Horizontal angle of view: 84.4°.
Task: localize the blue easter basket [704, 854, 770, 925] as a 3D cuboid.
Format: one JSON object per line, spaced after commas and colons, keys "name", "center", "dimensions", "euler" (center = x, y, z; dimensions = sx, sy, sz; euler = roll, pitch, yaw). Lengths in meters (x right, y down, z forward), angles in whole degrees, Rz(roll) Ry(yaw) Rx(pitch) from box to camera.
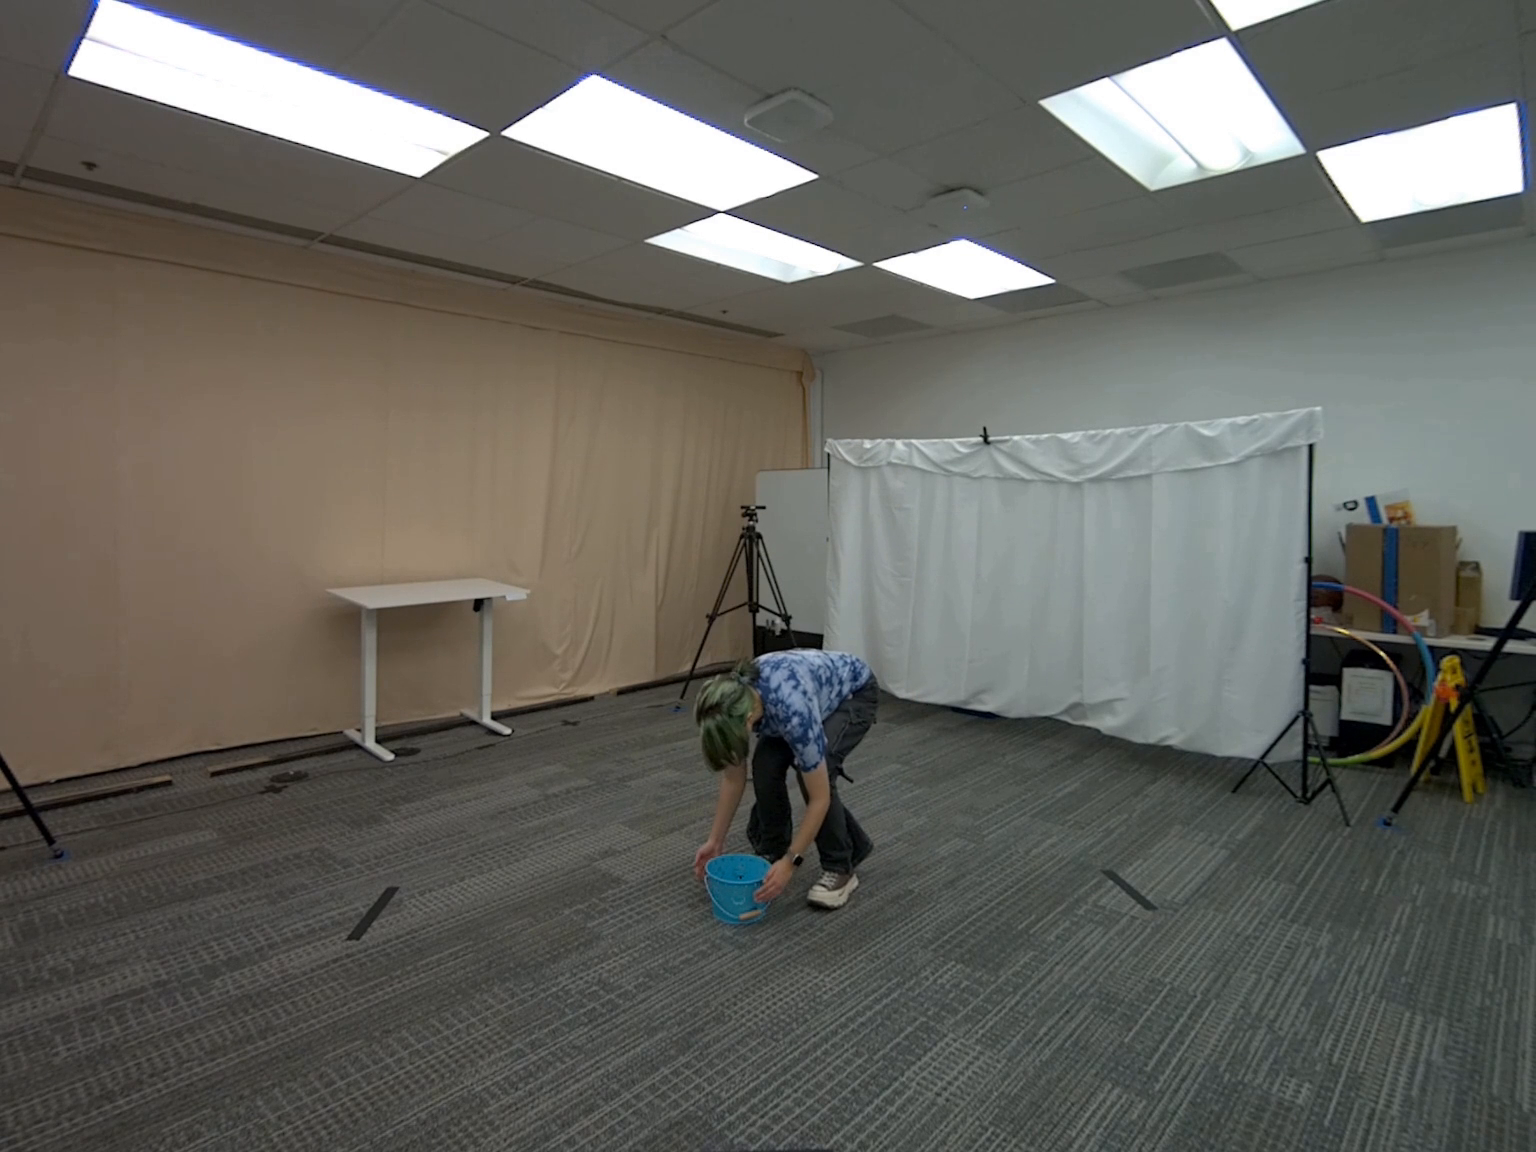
{"name": "blue easter basket", "center": [-0.099, 1.076, 2.895], "dimensions": [0.243, 0.155, 0.244], "euler": [0, 5, -2]}
